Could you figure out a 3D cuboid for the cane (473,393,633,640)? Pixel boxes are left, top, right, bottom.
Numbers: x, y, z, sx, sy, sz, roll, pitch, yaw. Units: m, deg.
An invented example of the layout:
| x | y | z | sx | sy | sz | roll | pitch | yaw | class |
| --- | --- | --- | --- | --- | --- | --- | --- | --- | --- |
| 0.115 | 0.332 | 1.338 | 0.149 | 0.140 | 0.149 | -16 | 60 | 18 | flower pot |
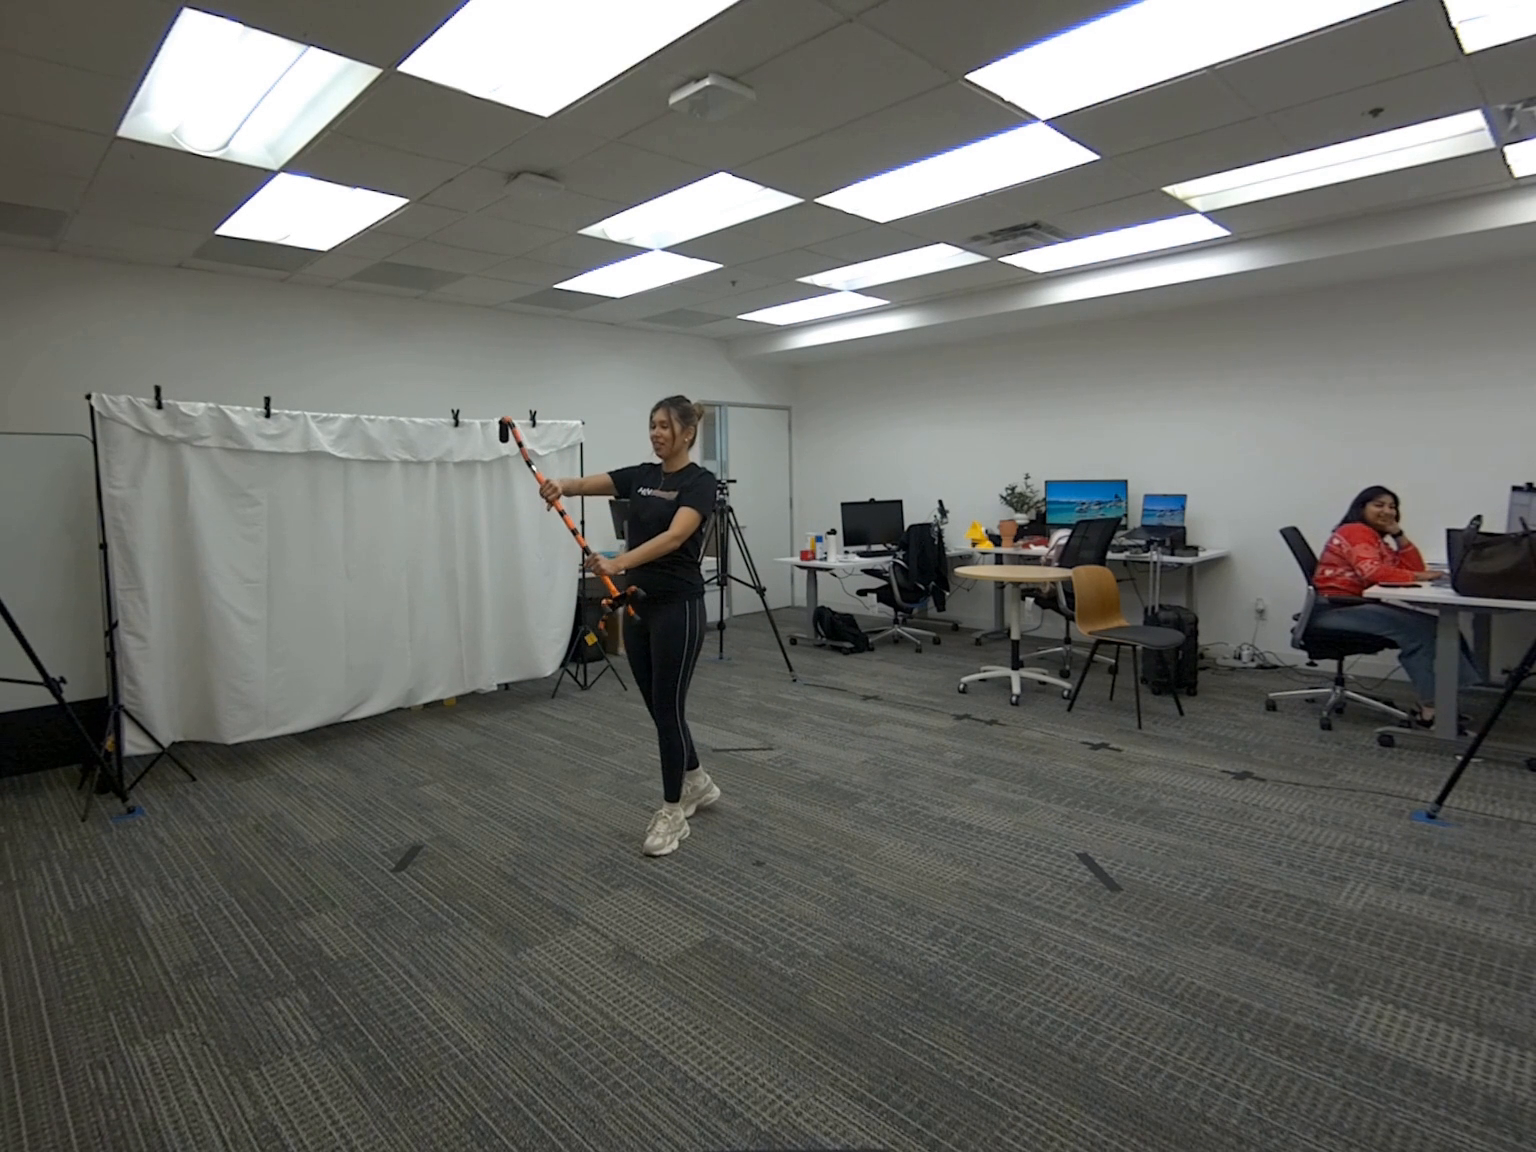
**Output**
| x | y | z | sx | sy | sz | roll | pitch | yaw | class |
| --- | --- | --- | --- | --- | --- | --- | --- | --- | --- |
| -0.736 | -0.222 | 2.952 | 0.150 | 0.933 | 0.203 | -27 | -23 | -22 | cane |
